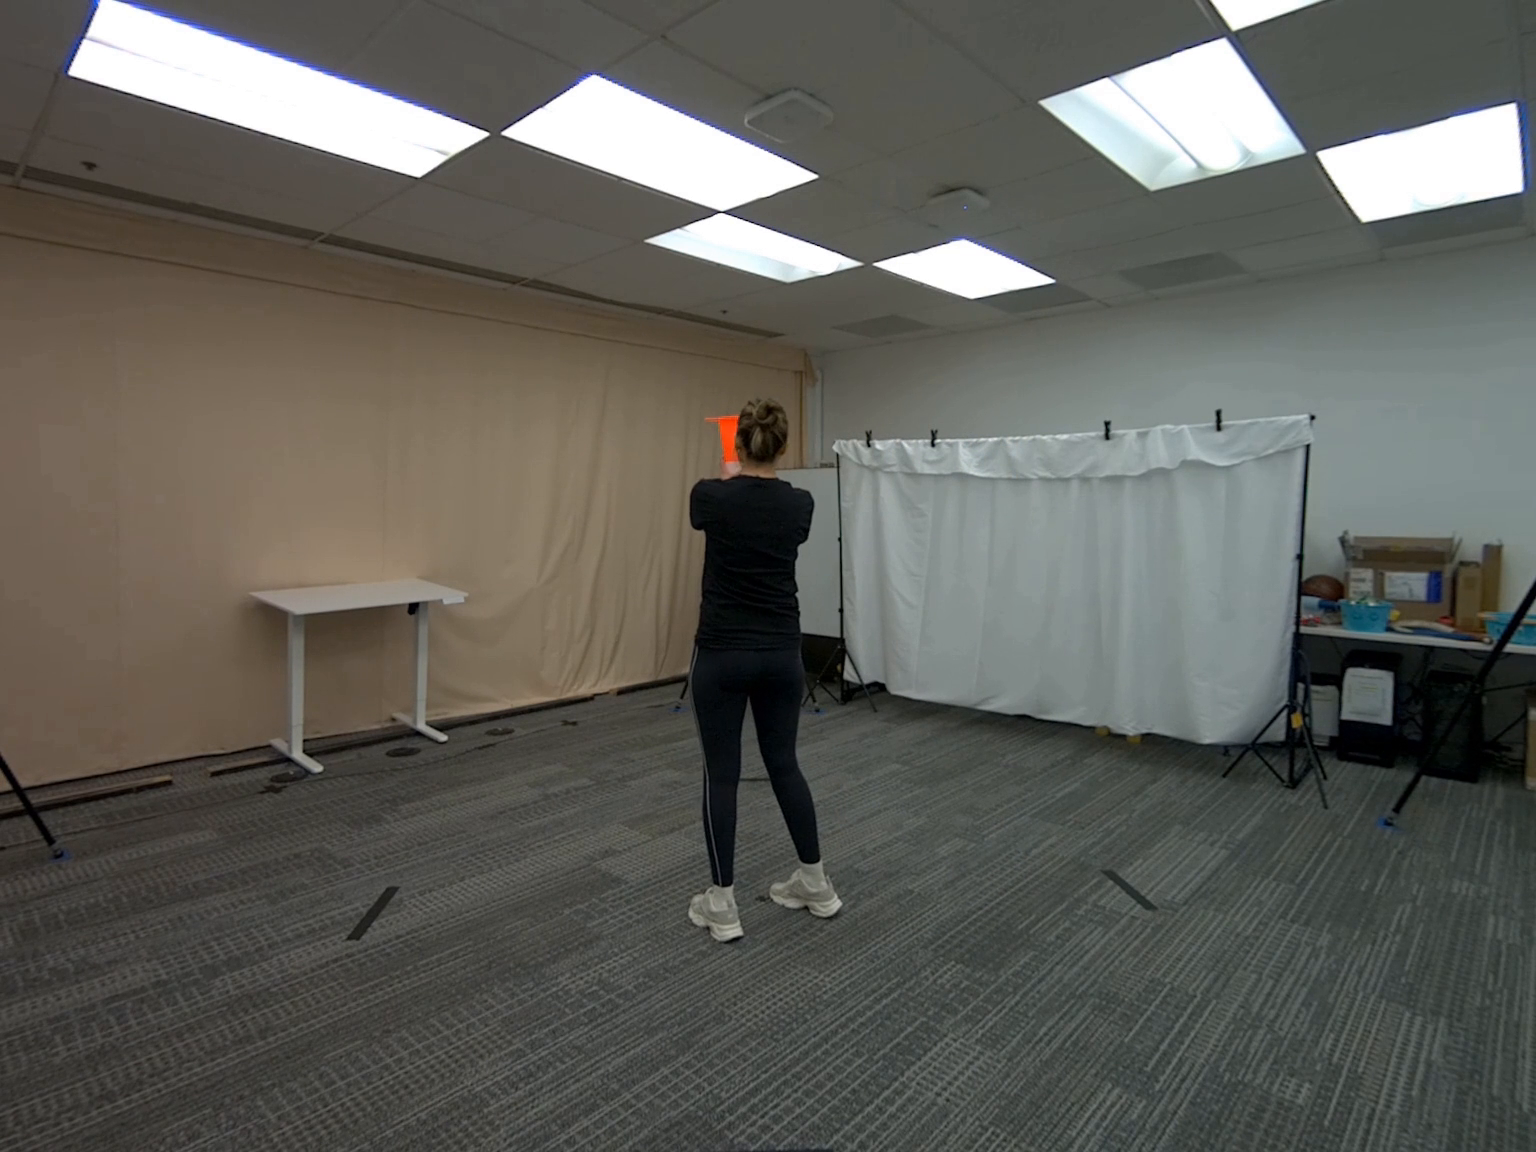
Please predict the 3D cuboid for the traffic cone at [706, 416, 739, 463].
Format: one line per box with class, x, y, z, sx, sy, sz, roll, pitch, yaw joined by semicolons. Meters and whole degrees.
traffic cone;-0.120;-0.421;3.286;0.197;0.383;0.212;1;3;-38
